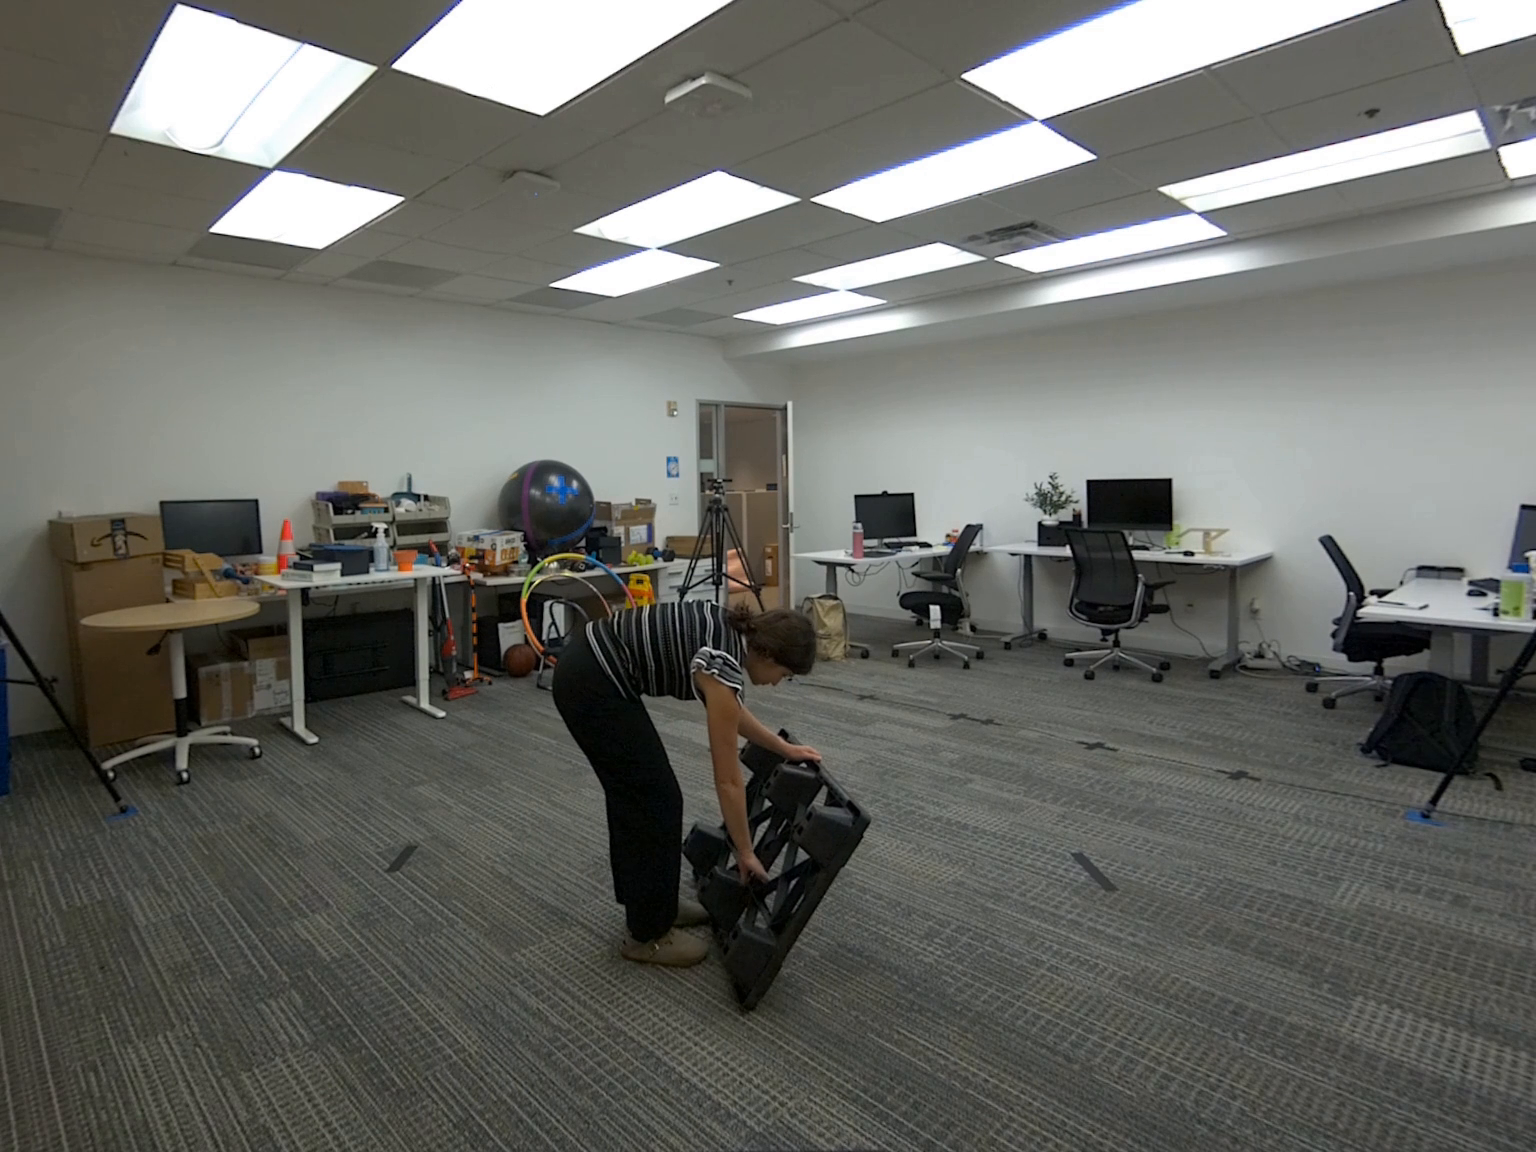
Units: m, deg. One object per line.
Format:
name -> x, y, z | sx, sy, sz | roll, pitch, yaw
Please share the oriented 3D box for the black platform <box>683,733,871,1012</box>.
black platform -> -0.024, 0.814, 2.626 | 0.141, 0.605, 0.819 | 33, -3, -15
